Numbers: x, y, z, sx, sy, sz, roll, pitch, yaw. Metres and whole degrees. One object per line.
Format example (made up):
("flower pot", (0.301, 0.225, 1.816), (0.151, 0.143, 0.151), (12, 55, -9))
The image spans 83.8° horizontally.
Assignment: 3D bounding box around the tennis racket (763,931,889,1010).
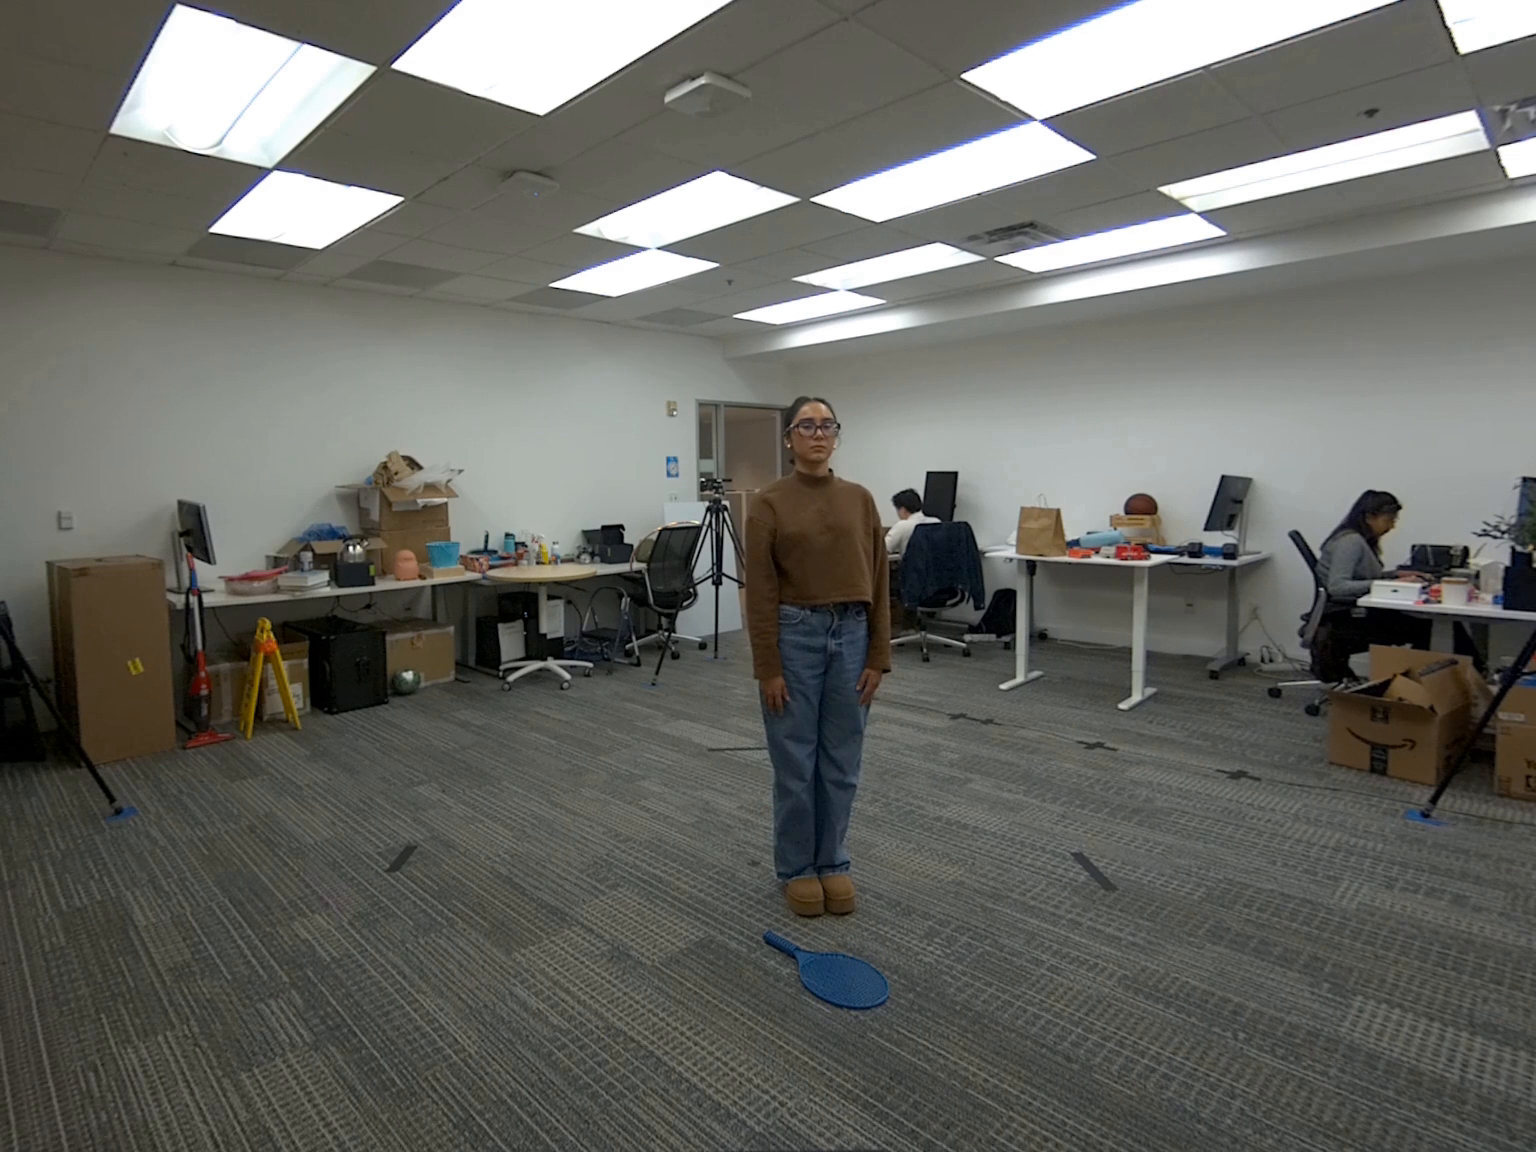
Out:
("tennis racket", (0.154, 1.110, 2.427), (0.208, 0.031, 0.447), (-7, 10, -42))
